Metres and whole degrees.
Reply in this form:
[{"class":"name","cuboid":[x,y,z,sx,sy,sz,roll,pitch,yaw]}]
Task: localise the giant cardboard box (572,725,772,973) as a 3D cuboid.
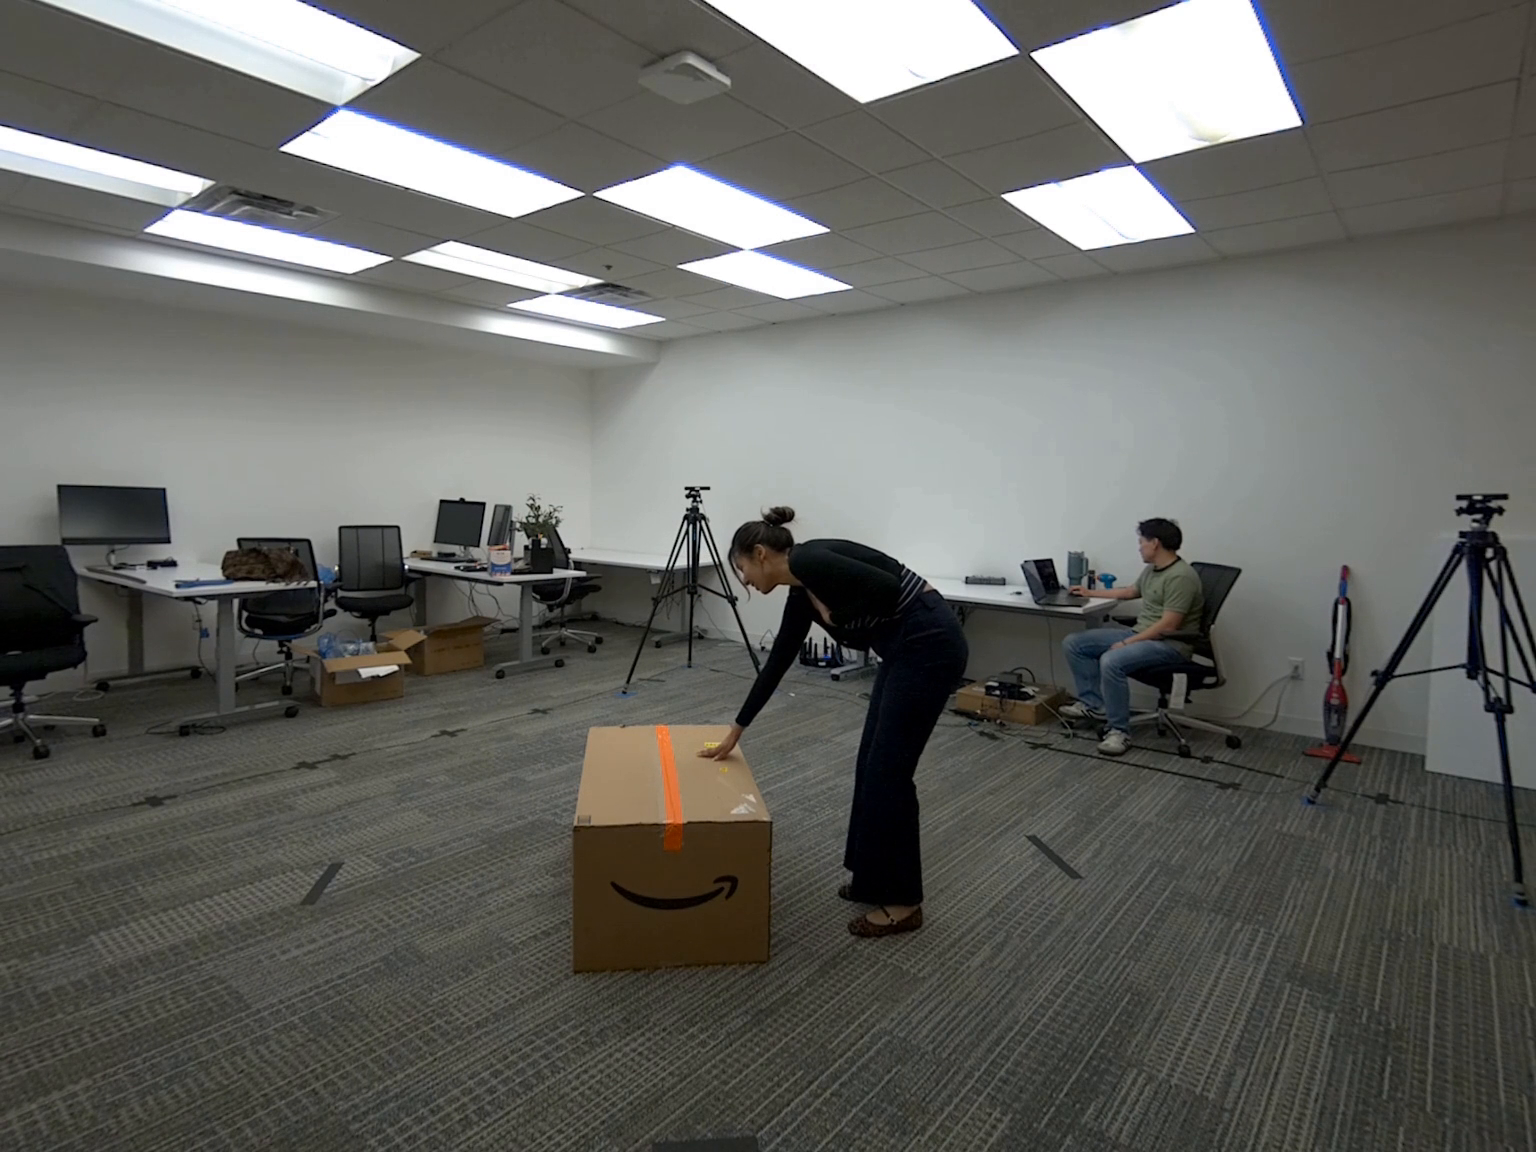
[{"class":"giant cardboard box","cuboid":[-0.369,0.865,2.949,0.573,0.424,1.039,1,5,-9]}]
